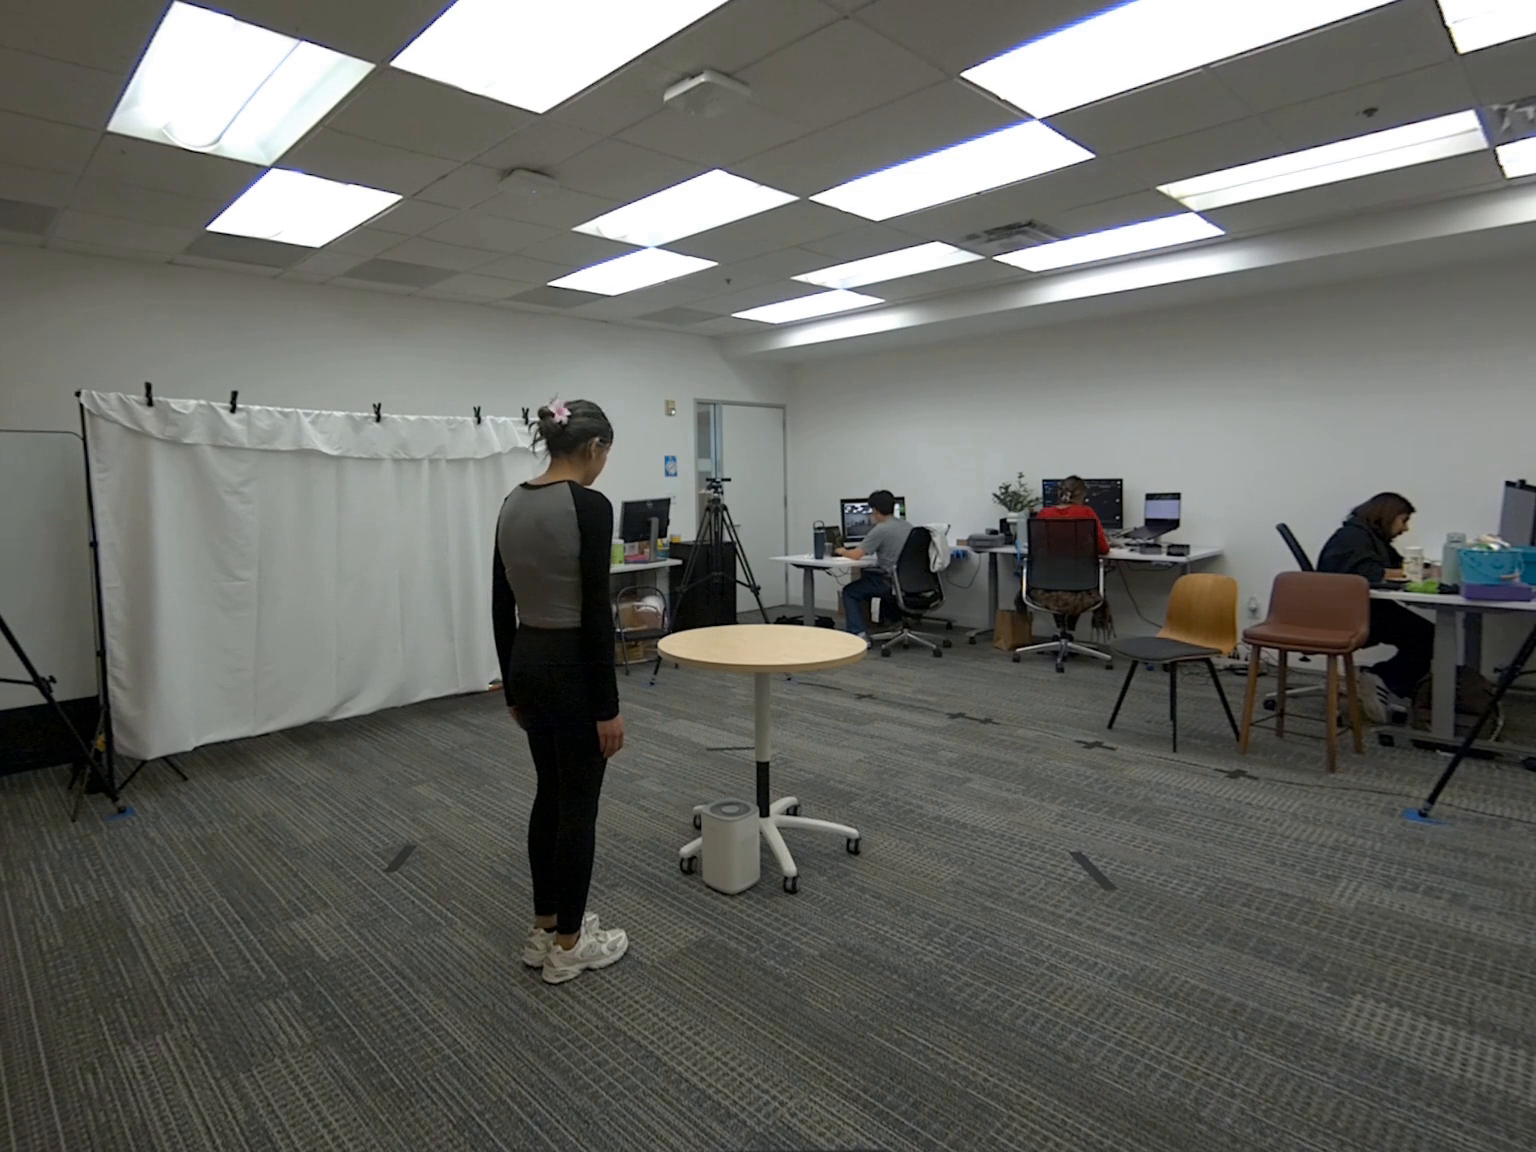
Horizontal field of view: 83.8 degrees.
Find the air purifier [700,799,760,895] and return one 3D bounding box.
[{"bbox_3d":[-0.126,0.929,2.936,0.176,0.264,0.167,3,6,40],"label":"air purifier"}]
